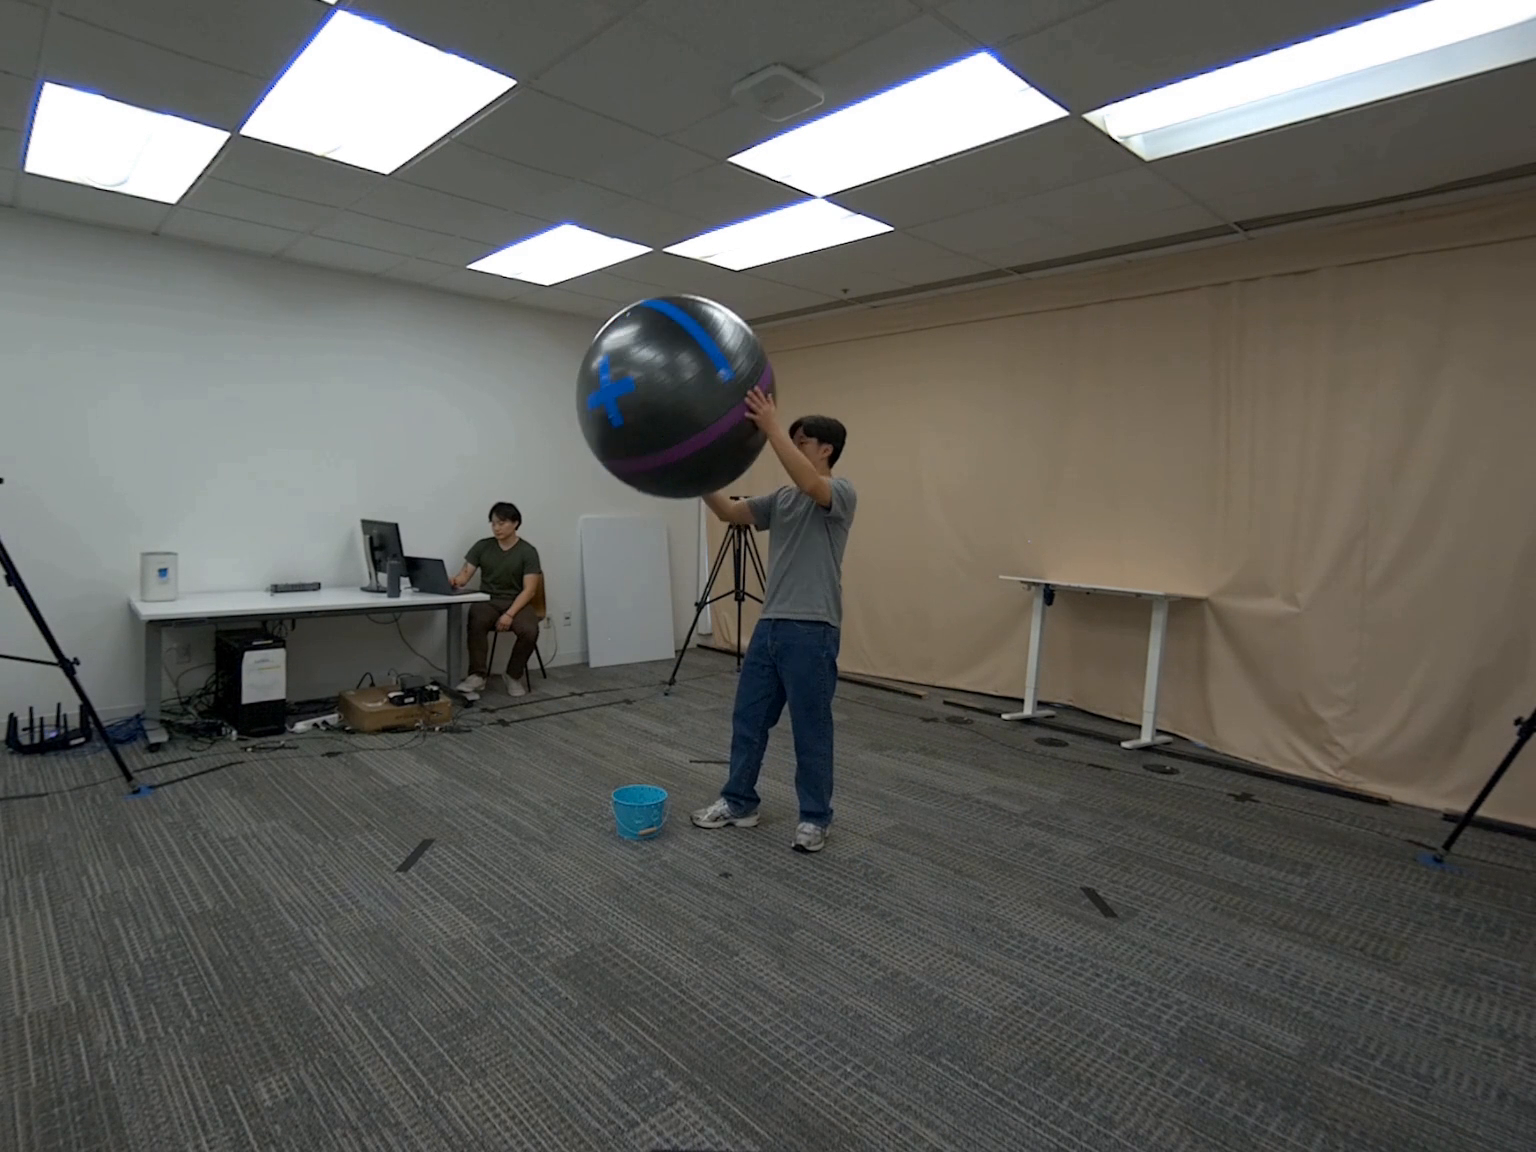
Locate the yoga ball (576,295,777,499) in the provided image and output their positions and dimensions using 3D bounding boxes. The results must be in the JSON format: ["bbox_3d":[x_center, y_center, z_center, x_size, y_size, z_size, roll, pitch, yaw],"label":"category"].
[{"bbox_3d":[-0.349,-0.656,3.206,0.757,0.756,0.761,1,4,-1],"label":"yoga ball"}]
